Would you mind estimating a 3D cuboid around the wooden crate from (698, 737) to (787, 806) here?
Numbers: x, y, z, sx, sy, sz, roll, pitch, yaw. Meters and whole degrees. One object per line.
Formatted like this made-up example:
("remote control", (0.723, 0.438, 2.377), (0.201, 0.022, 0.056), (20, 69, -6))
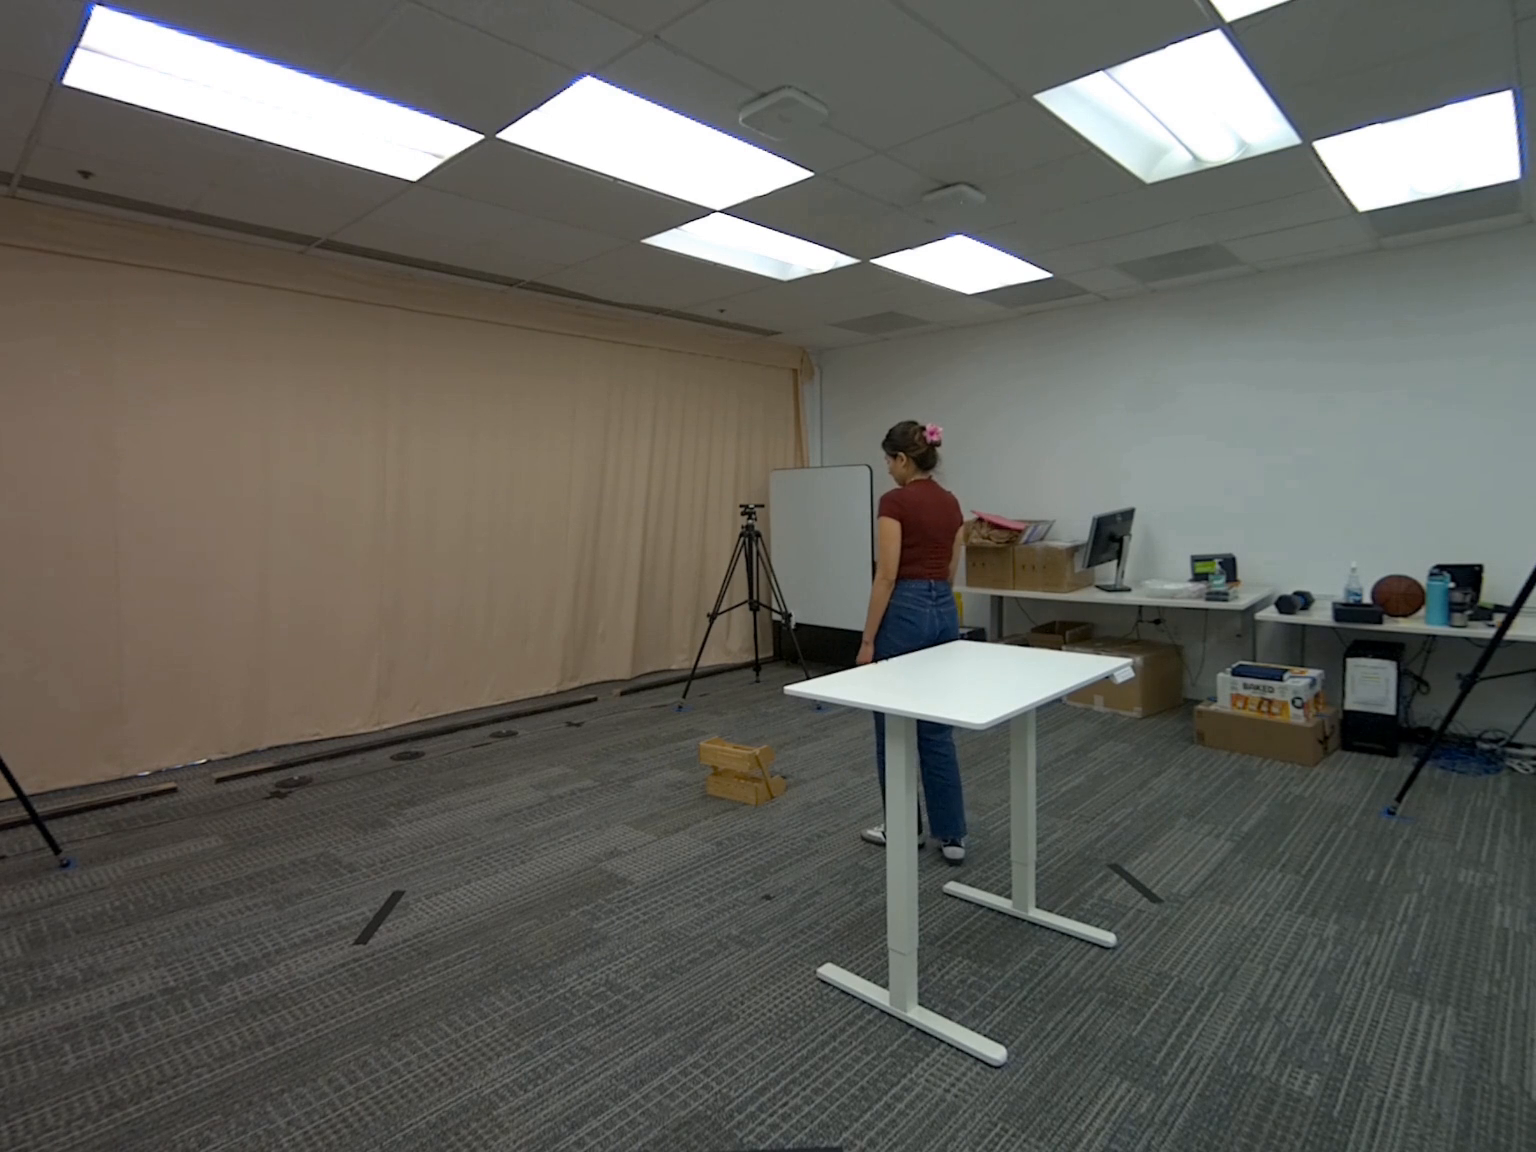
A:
("wooden crate", (-0.121, 0.920, 4.067), (0.334, 0.272, 0.293), (2, 5, 35))
